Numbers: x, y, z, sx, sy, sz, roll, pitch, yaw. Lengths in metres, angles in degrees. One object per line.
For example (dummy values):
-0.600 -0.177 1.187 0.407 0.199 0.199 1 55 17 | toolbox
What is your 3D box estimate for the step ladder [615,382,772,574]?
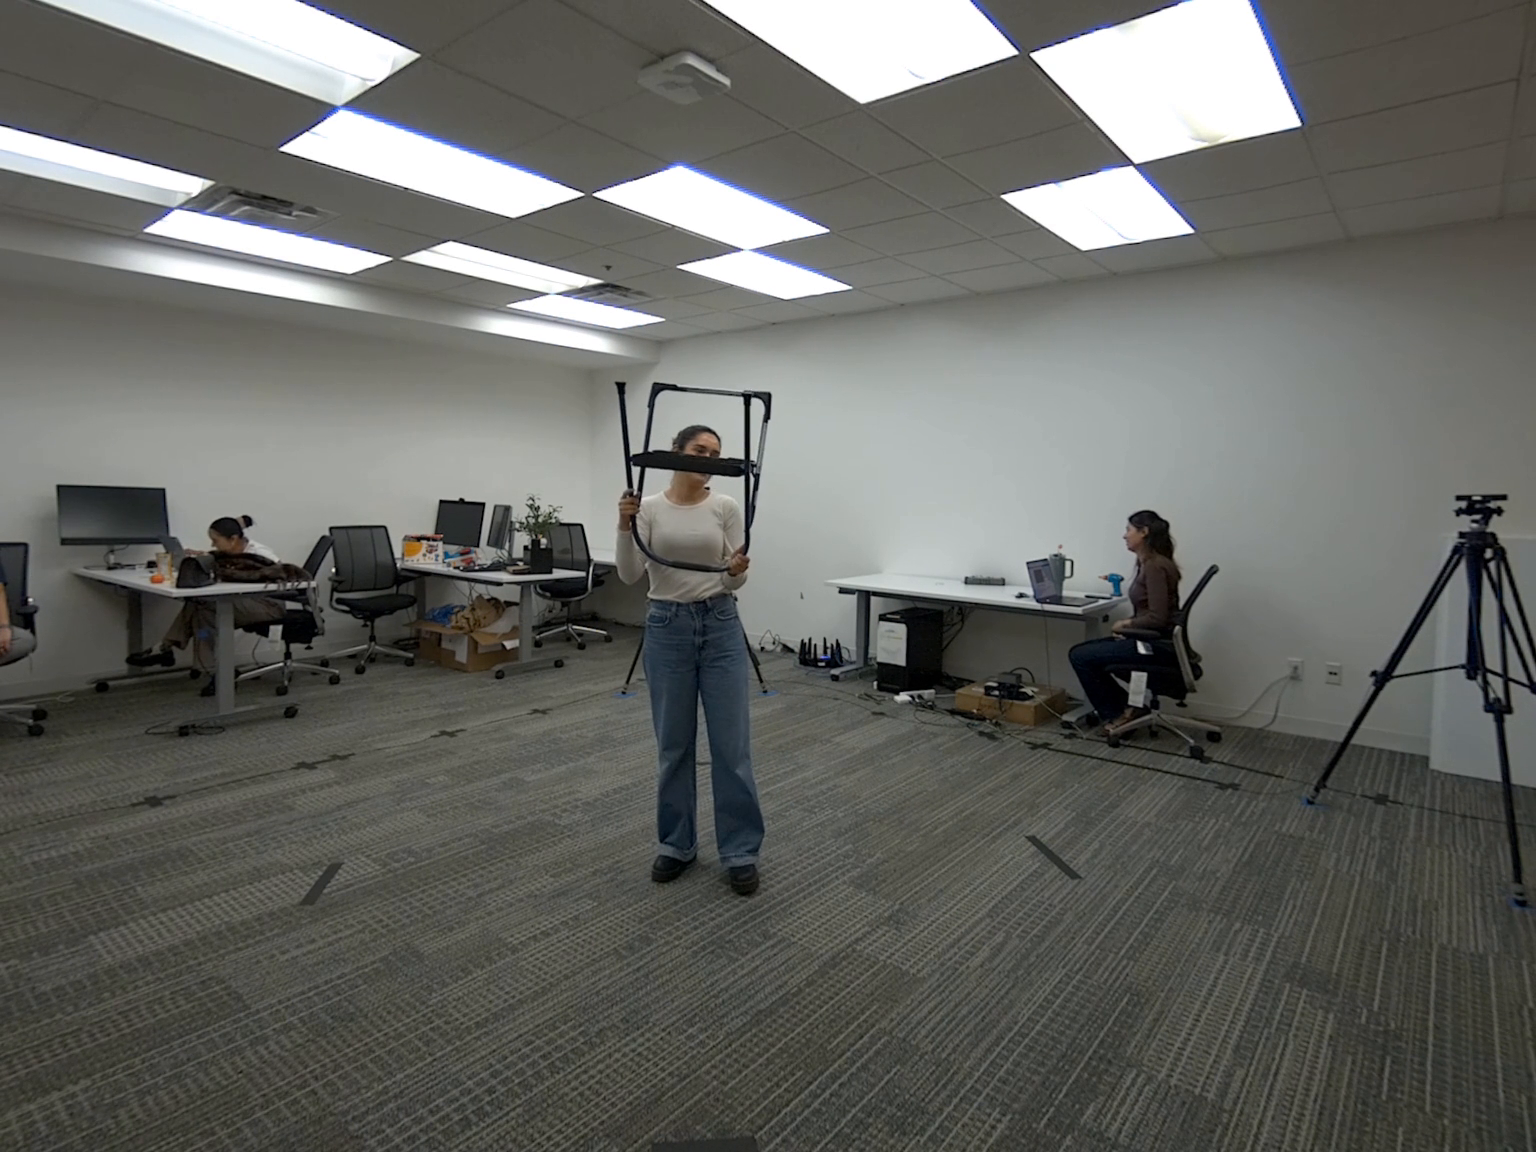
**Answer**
-0.253 -0.305 2.718 0.438 0.600 0.347 7 12 14 | step ladder
